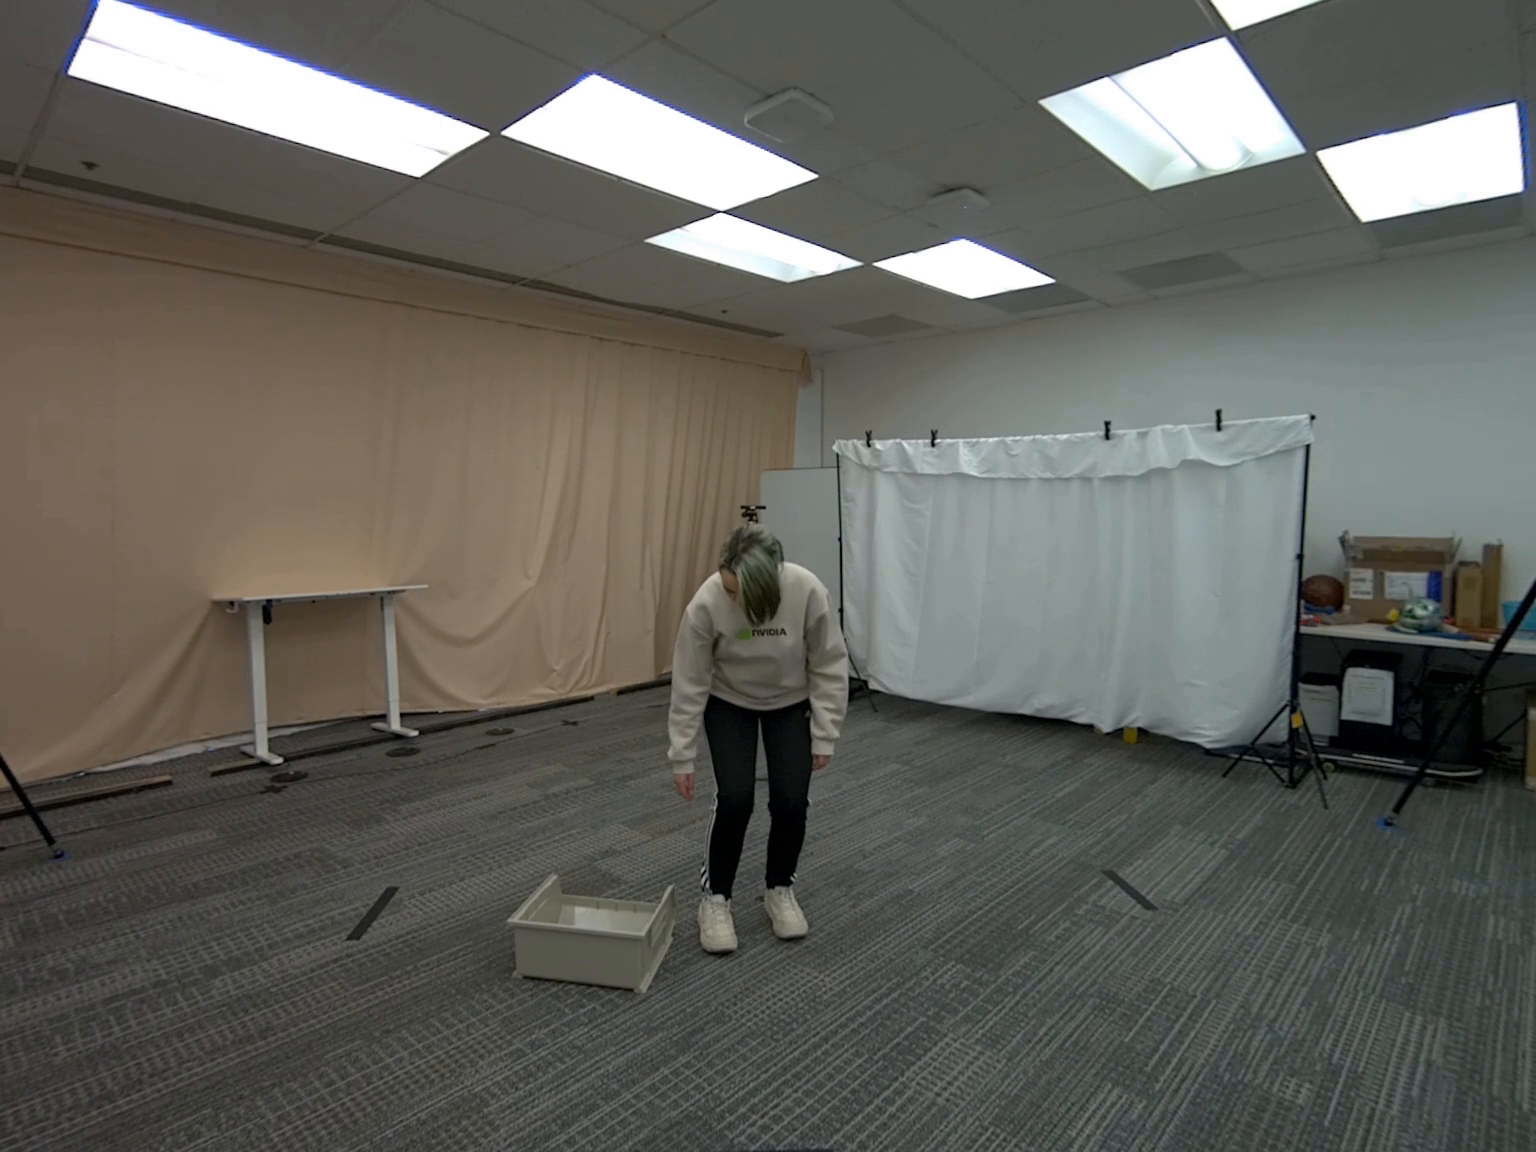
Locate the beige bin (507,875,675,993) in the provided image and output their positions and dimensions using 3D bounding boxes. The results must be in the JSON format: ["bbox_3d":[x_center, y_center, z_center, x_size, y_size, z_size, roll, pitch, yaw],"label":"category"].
[{"bbox_3d":[-0.529,1.091,2.609,0.428,0.188,0.374,1,5,11],"label":"beige bin"}]
